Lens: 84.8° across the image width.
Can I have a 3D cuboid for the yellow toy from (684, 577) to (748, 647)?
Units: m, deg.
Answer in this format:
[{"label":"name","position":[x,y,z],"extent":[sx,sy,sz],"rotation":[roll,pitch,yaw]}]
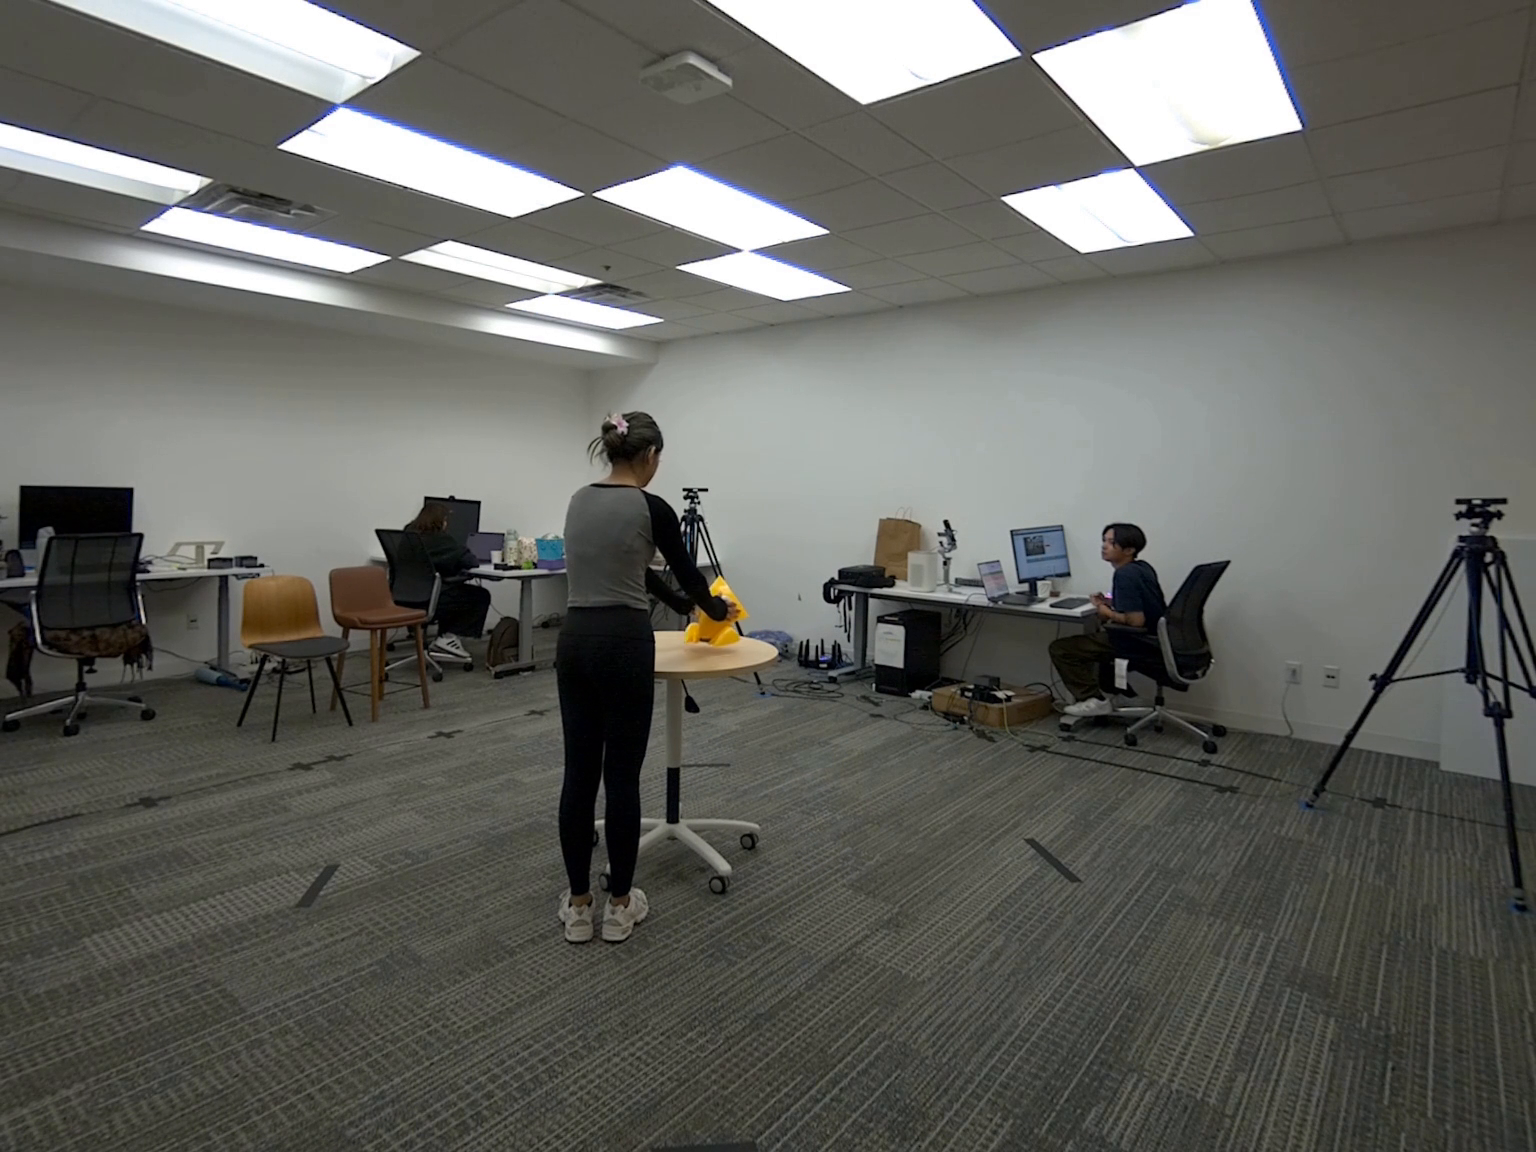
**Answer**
[{"label":"yellow toy","position":[-0.227,0.122,3.133],"extent":[0.211,0.229,0.189],"rotation":[3,9,30]}]
